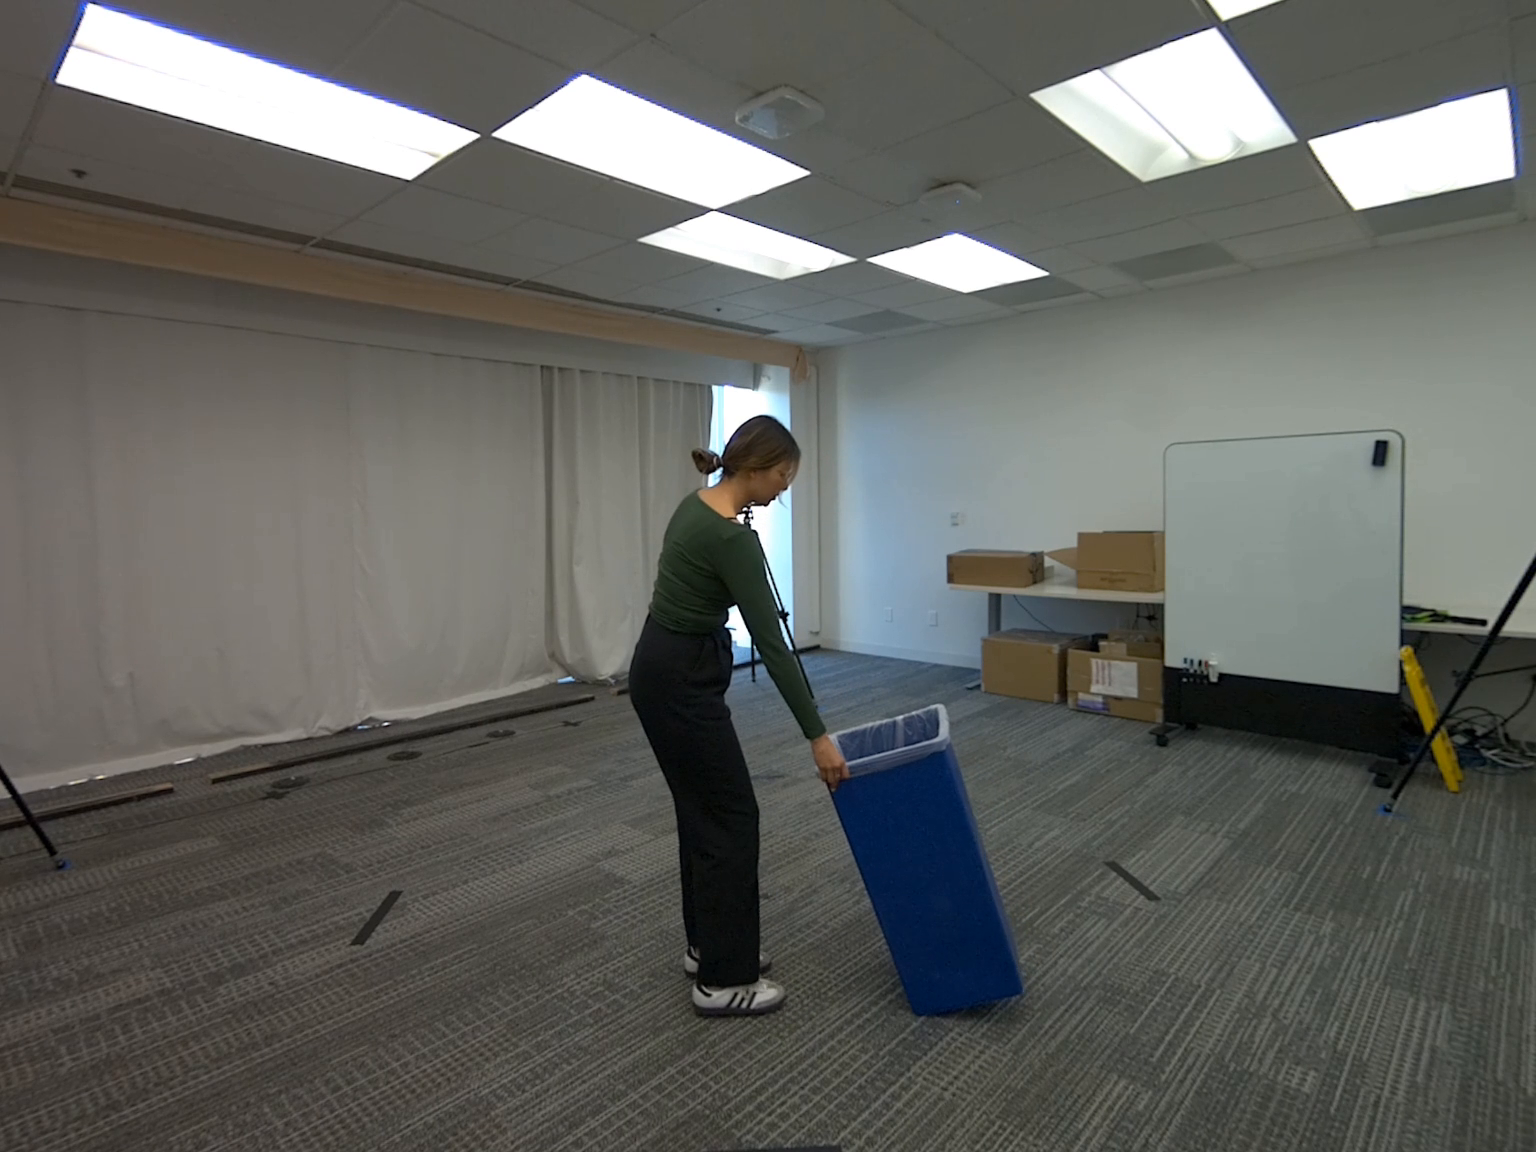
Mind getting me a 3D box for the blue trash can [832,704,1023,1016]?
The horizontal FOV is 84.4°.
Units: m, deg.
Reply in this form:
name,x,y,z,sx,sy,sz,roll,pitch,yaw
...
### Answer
name,x,y,z,sx,sy,sz,roll,pitch,yaw
blue trash can,0.455,0.793,2.386,0.378,0.714,0.374,-20,-1,12
